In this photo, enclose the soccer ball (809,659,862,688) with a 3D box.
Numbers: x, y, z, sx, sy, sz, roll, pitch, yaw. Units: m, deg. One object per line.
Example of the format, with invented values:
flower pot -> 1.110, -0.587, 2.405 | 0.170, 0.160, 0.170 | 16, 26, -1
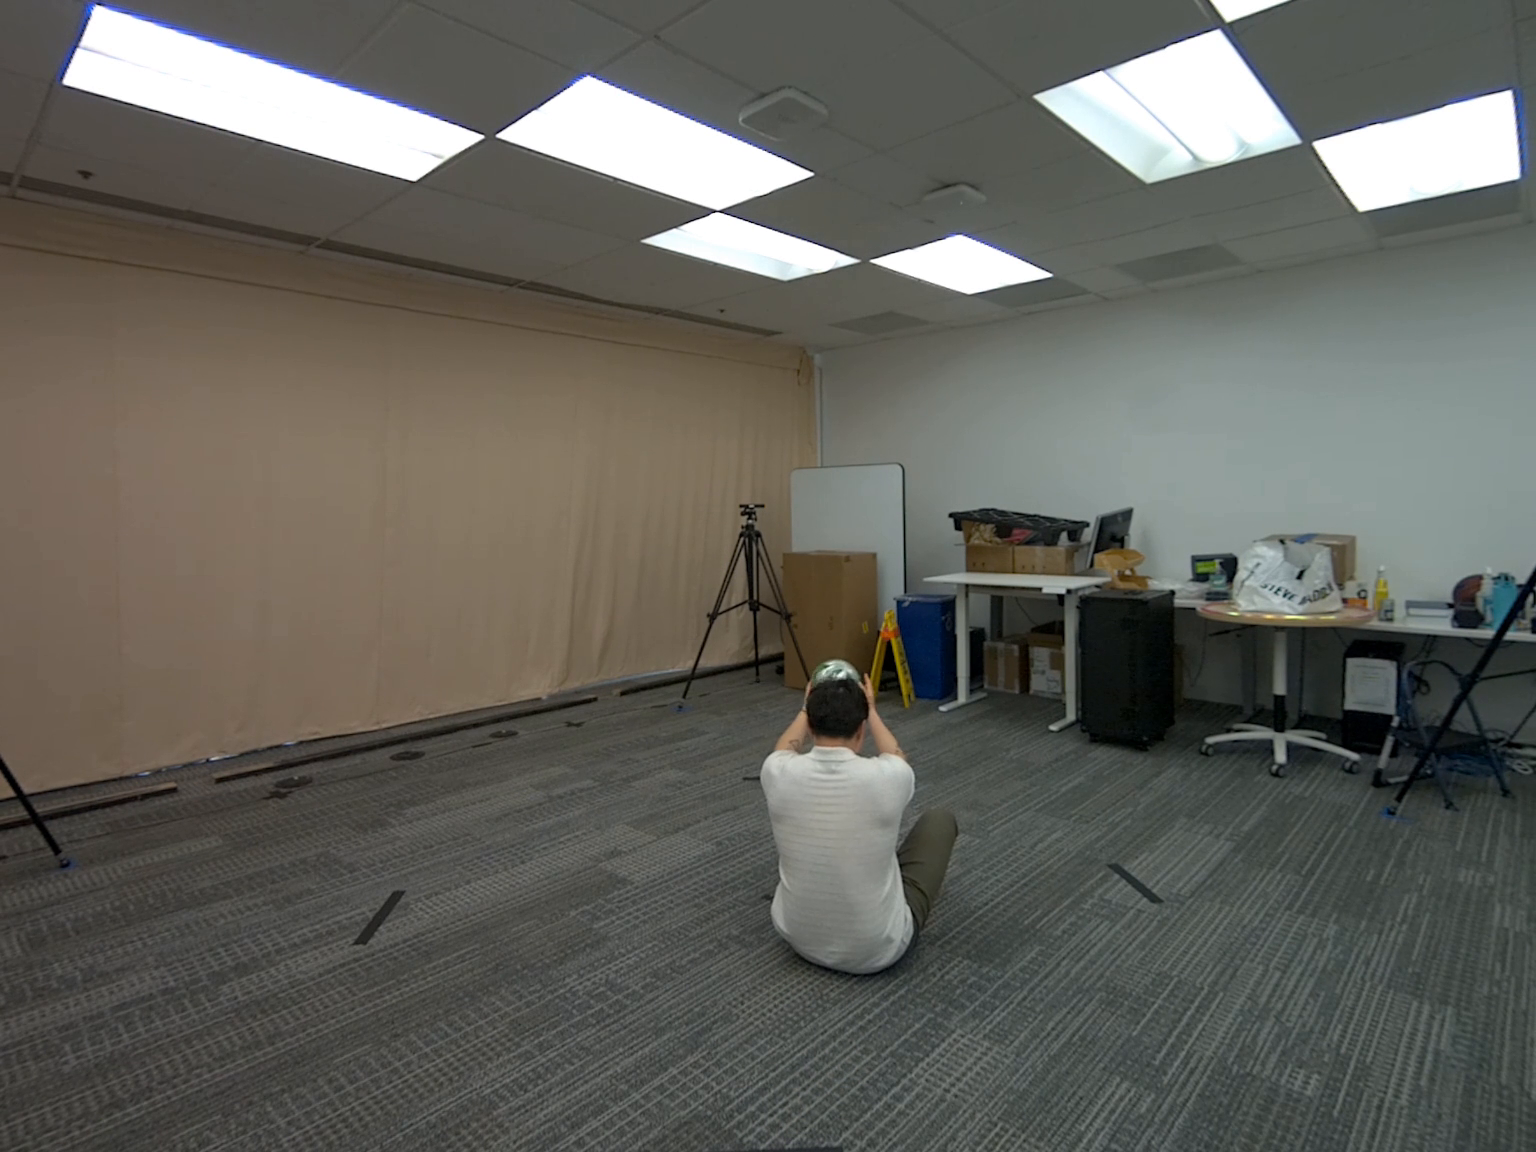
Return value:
soccer ball -> 0.256, 0.428, 3.108 | 0.187, 0.187, 0.188 | -1, 4, -2
